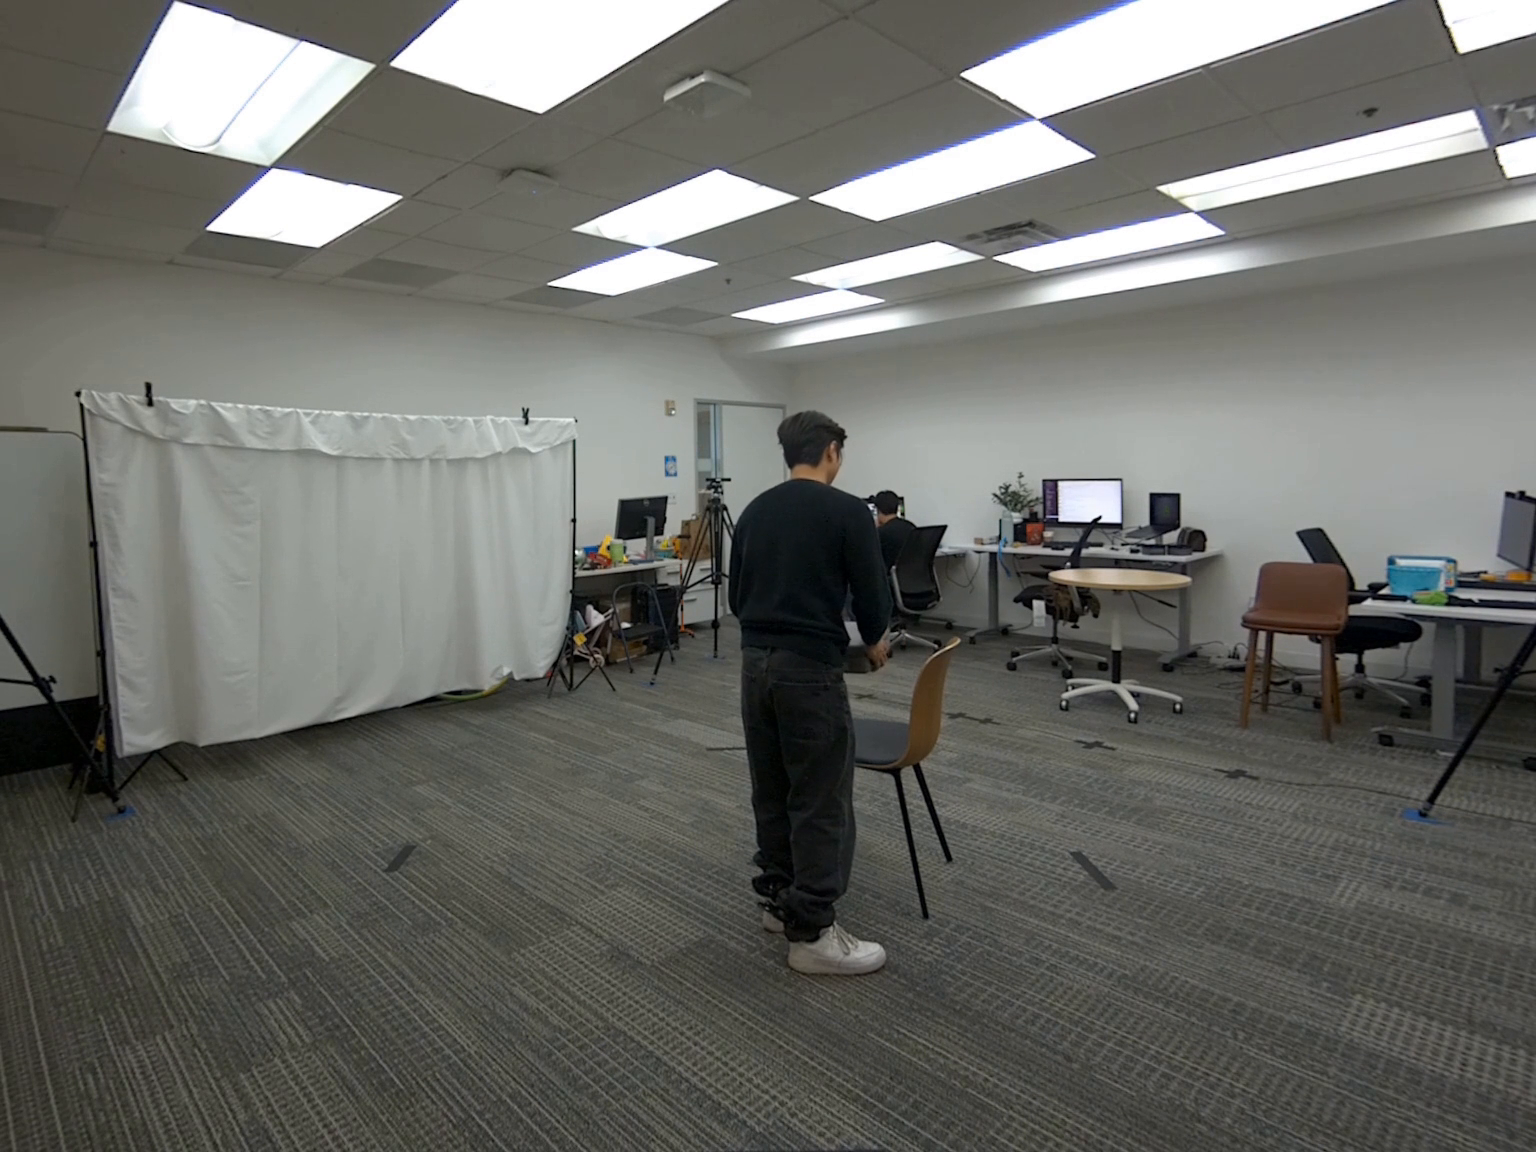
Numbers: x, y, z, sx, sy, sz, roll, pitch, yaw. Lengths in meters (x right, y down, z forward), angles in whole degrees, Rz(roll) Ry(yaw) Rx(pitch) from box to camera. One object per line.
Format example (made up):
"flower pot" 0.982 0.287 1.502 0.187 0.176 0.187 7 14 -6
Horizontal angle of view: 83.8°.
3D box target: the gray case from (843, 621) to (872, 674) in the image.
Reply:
"gray case" 0.245 0.239 2.863 0.263 0.103 0.257 1 15 29
